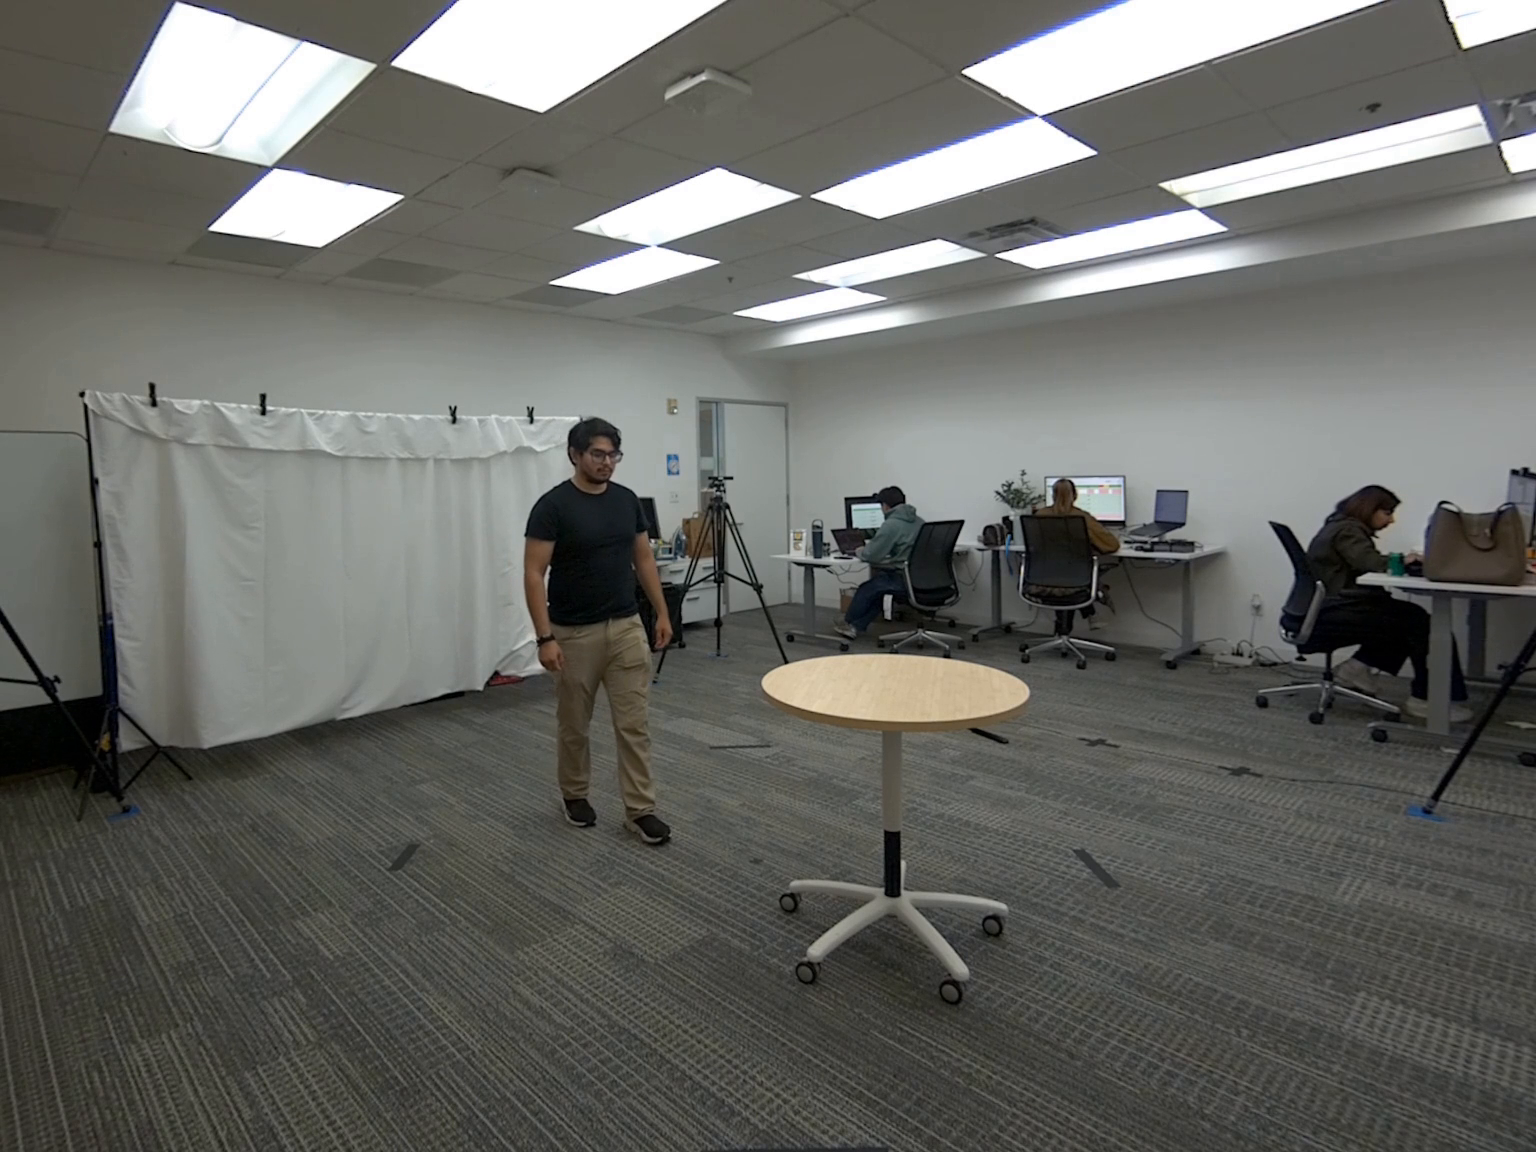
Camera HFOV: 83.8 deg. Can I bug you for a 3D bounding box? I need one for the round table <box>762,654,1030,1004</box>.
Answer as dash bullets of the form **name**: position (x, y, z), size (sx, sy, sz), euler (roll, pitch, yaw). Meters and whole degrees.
- **round table**: position (0.374, 0.699, 2.559), size (0.784, 0.783, 0.790), euler (-1, 6, -2)
